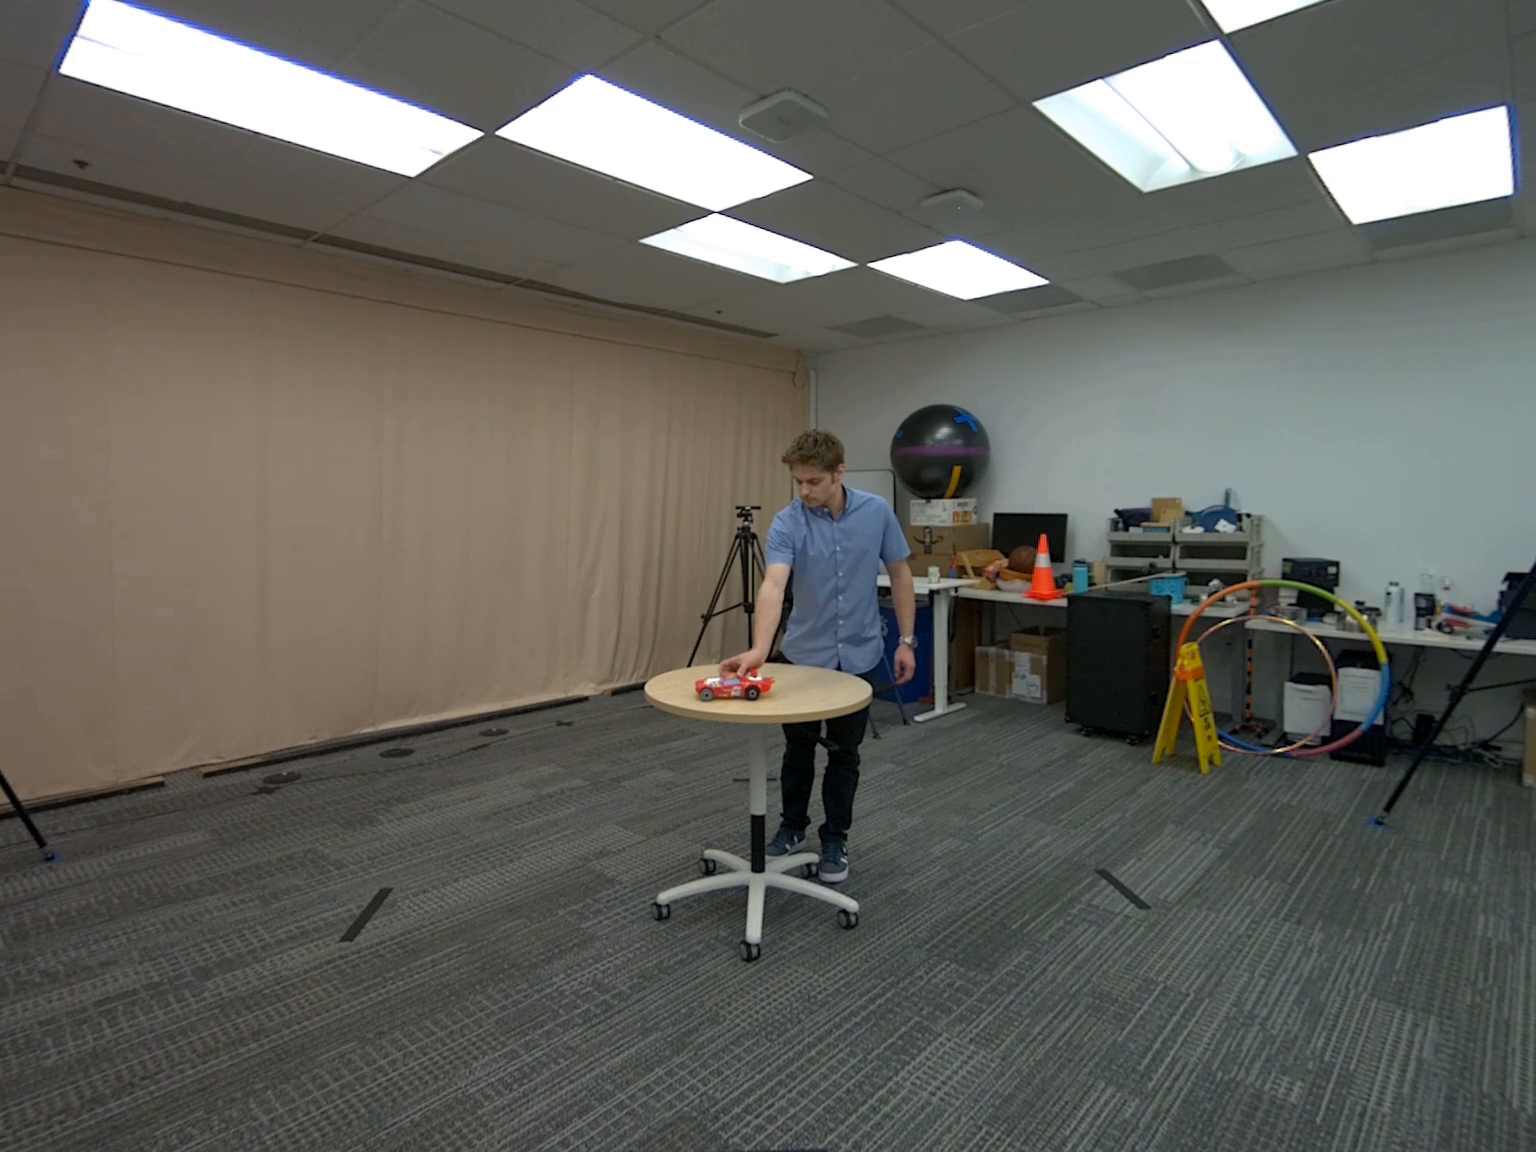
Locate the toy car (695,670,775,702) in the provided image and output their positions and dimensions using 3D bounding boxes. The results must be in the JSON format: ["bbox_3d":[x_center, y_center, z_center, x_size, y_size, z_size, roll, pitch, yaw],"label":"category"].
[{"bbox_3d":[-0.098,0.358,2.684,0.254,0.083,0.131,-12,6,-2],"label":"toy car"}]
